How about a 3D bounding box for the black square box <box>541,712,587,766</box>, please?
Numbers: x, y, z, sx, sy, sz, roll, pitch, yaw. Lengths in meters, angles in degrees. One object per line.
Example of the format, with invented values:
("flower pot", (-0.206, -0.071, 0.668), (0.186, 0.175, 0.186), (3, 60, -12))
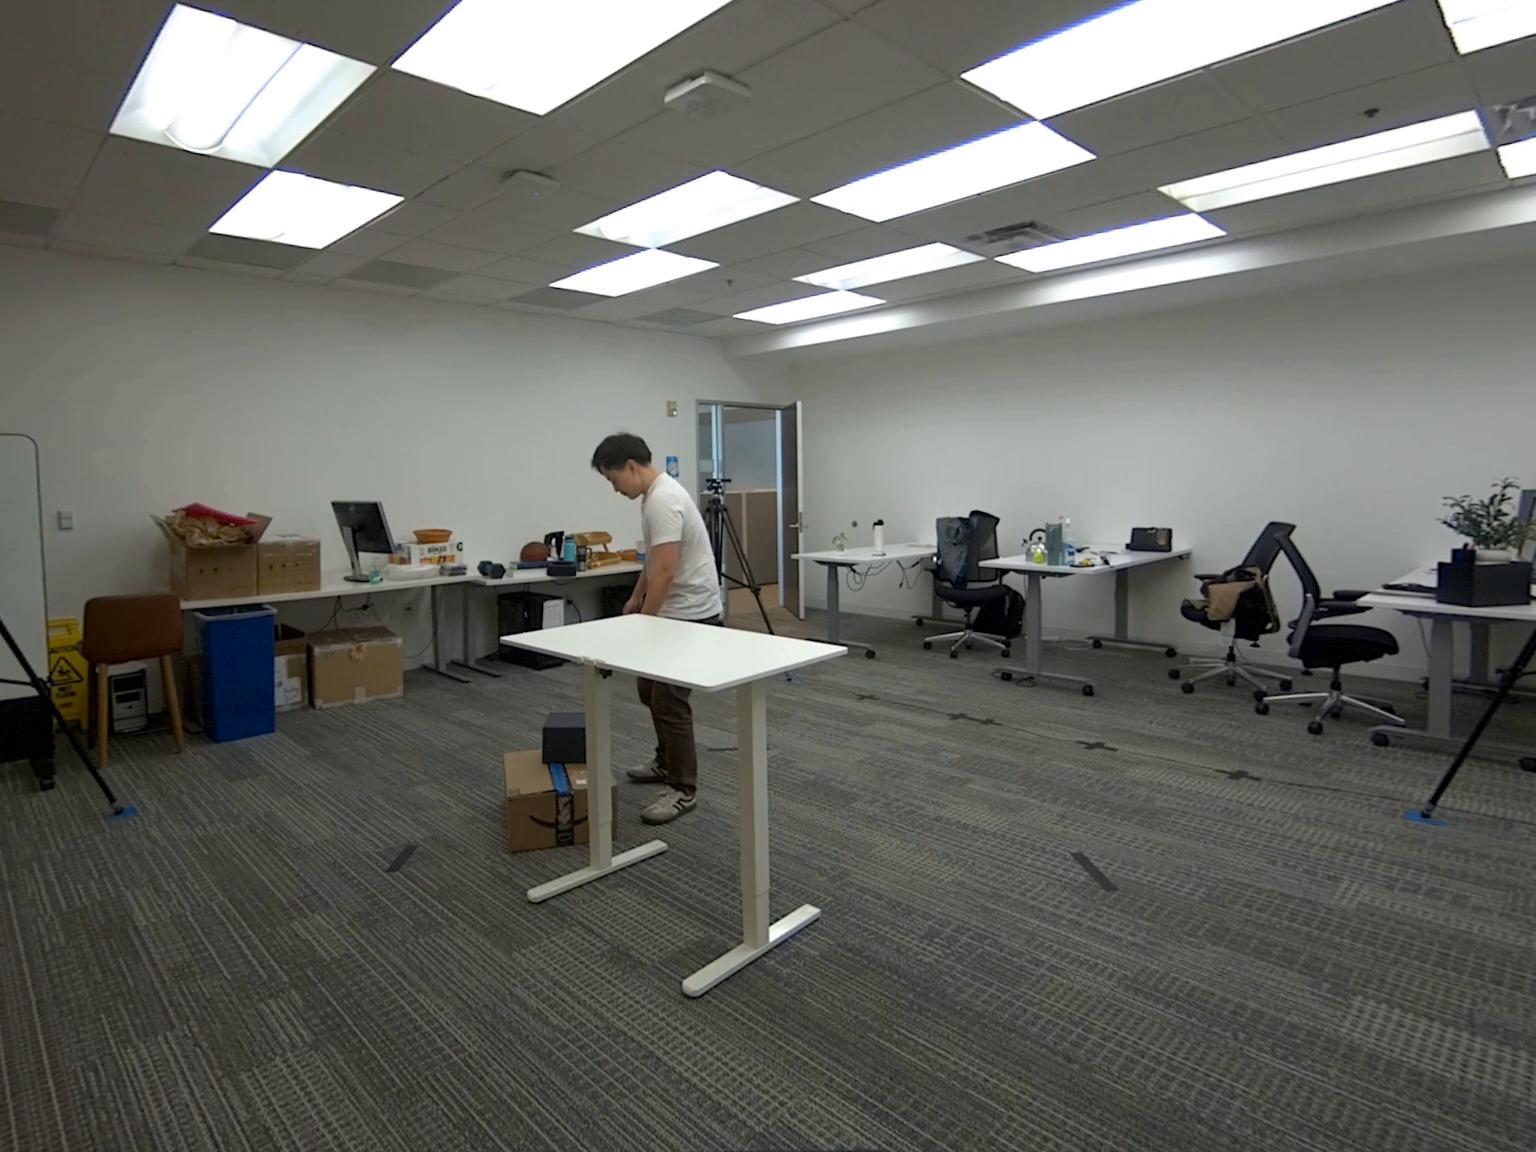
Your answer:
("black square box", (-0.845, 0.694, 3.689), (0.216, 0.155, 0.230), (-1, 6, -4))
